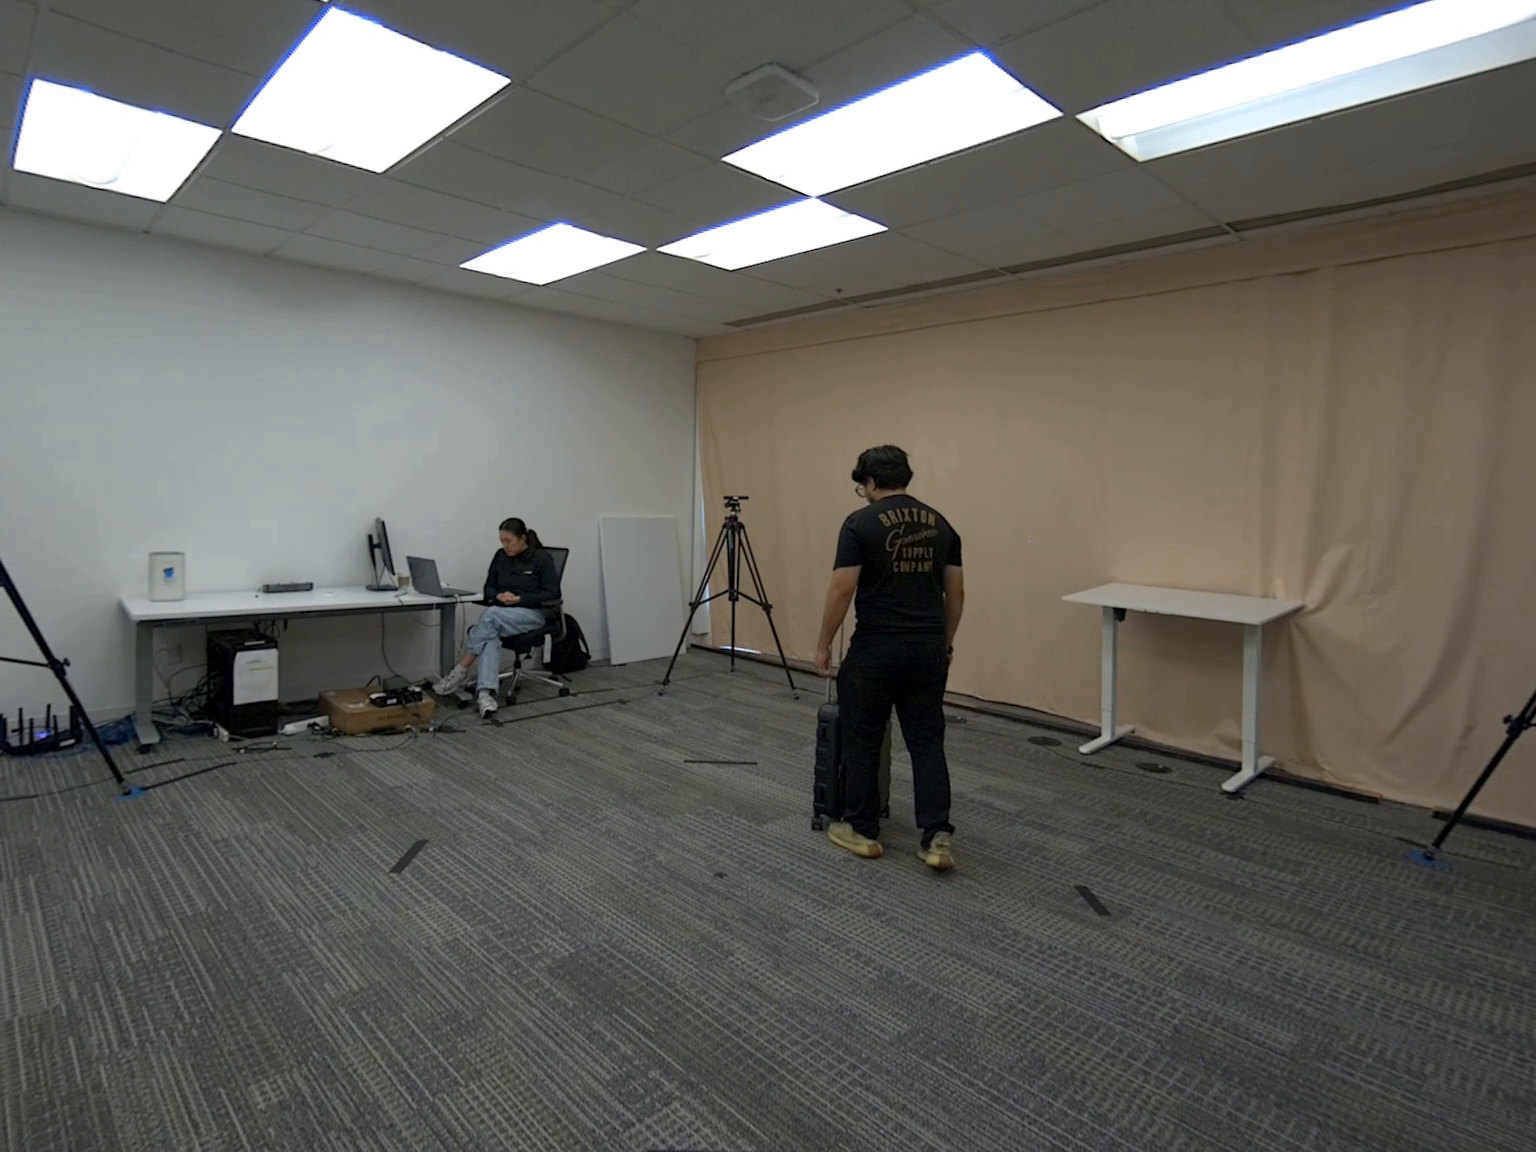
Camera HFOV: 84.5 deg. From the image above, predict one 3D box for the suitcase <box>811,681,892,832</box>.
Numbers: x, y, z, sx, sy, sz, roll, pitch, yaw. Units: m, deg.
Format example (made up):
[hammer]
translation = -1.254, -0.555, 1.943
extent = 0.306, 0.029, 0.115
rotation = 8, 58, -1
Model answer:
[suitcase]
translation = 0.377, 0.591, 3.649
extent = 0.262, 0.976, 0.377
rotation = 4, 3, 25
